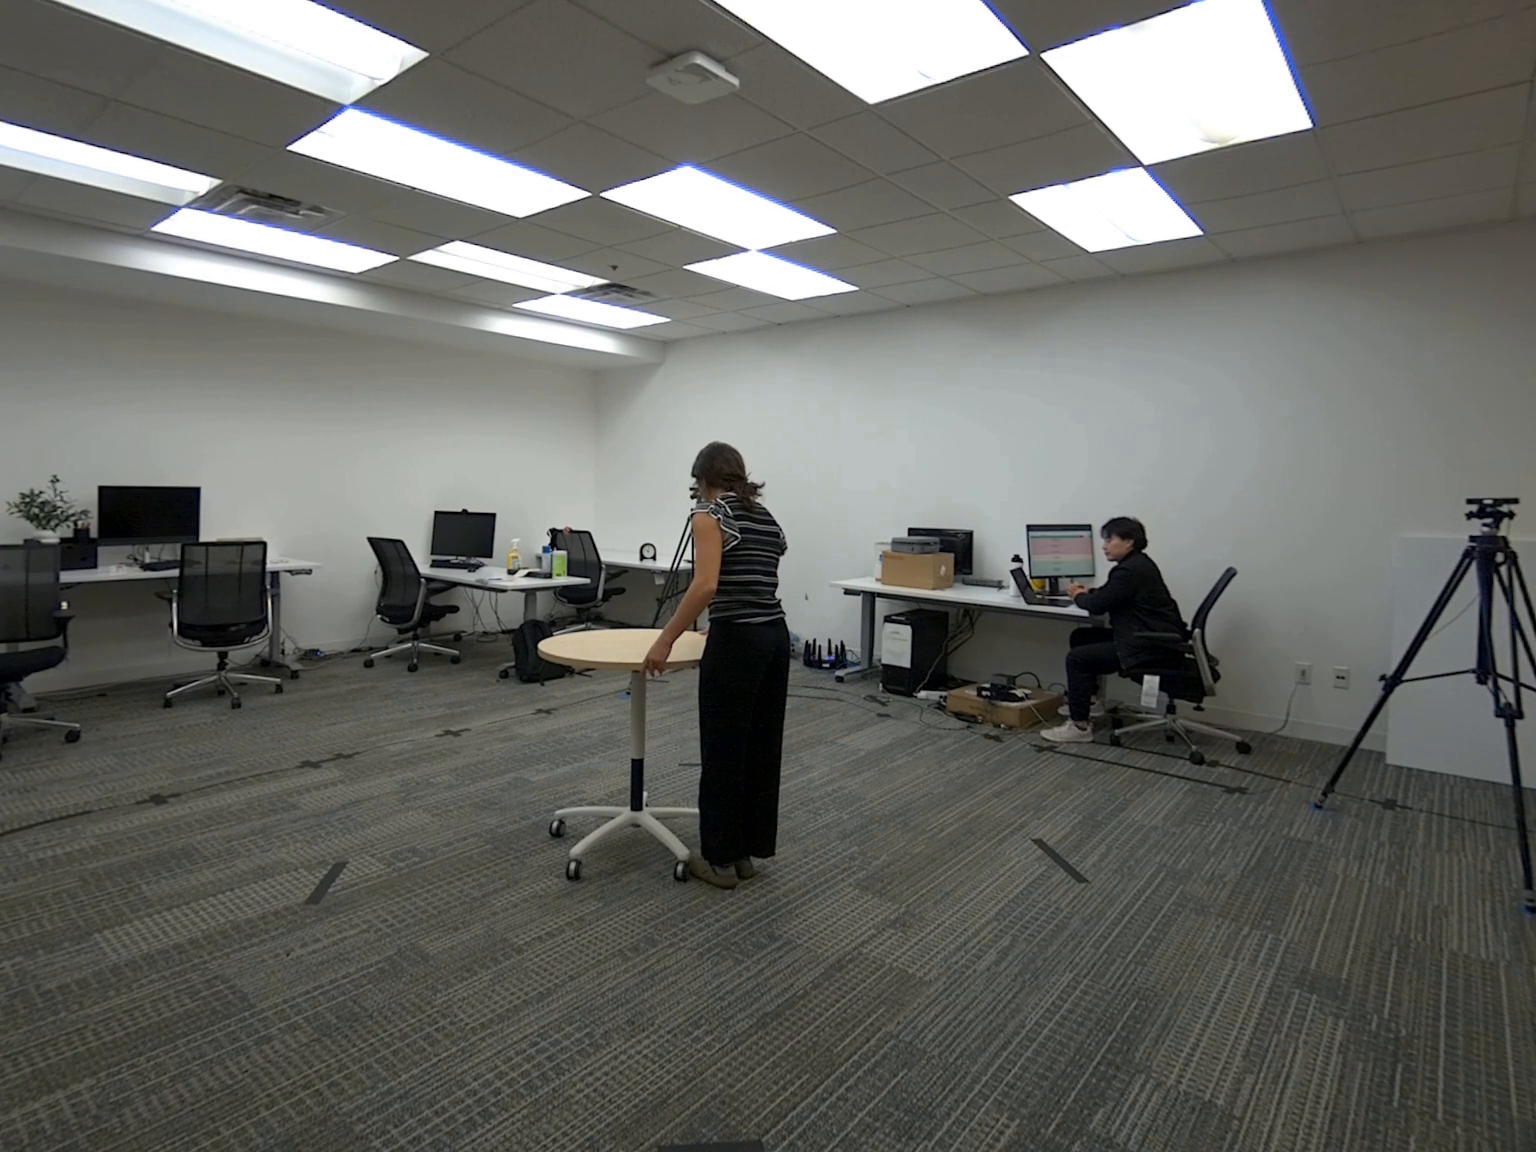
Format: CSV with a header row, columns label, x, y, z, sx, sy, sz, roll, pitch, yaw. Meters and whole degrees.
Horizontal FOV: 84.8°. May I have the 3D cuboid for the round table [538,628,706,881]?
label,x,y,z,sx,sy,sz,roll,pitch,yaw
round table,-0.505,0.647,3.284,0.784,0.784,0.789,0,4,-2
